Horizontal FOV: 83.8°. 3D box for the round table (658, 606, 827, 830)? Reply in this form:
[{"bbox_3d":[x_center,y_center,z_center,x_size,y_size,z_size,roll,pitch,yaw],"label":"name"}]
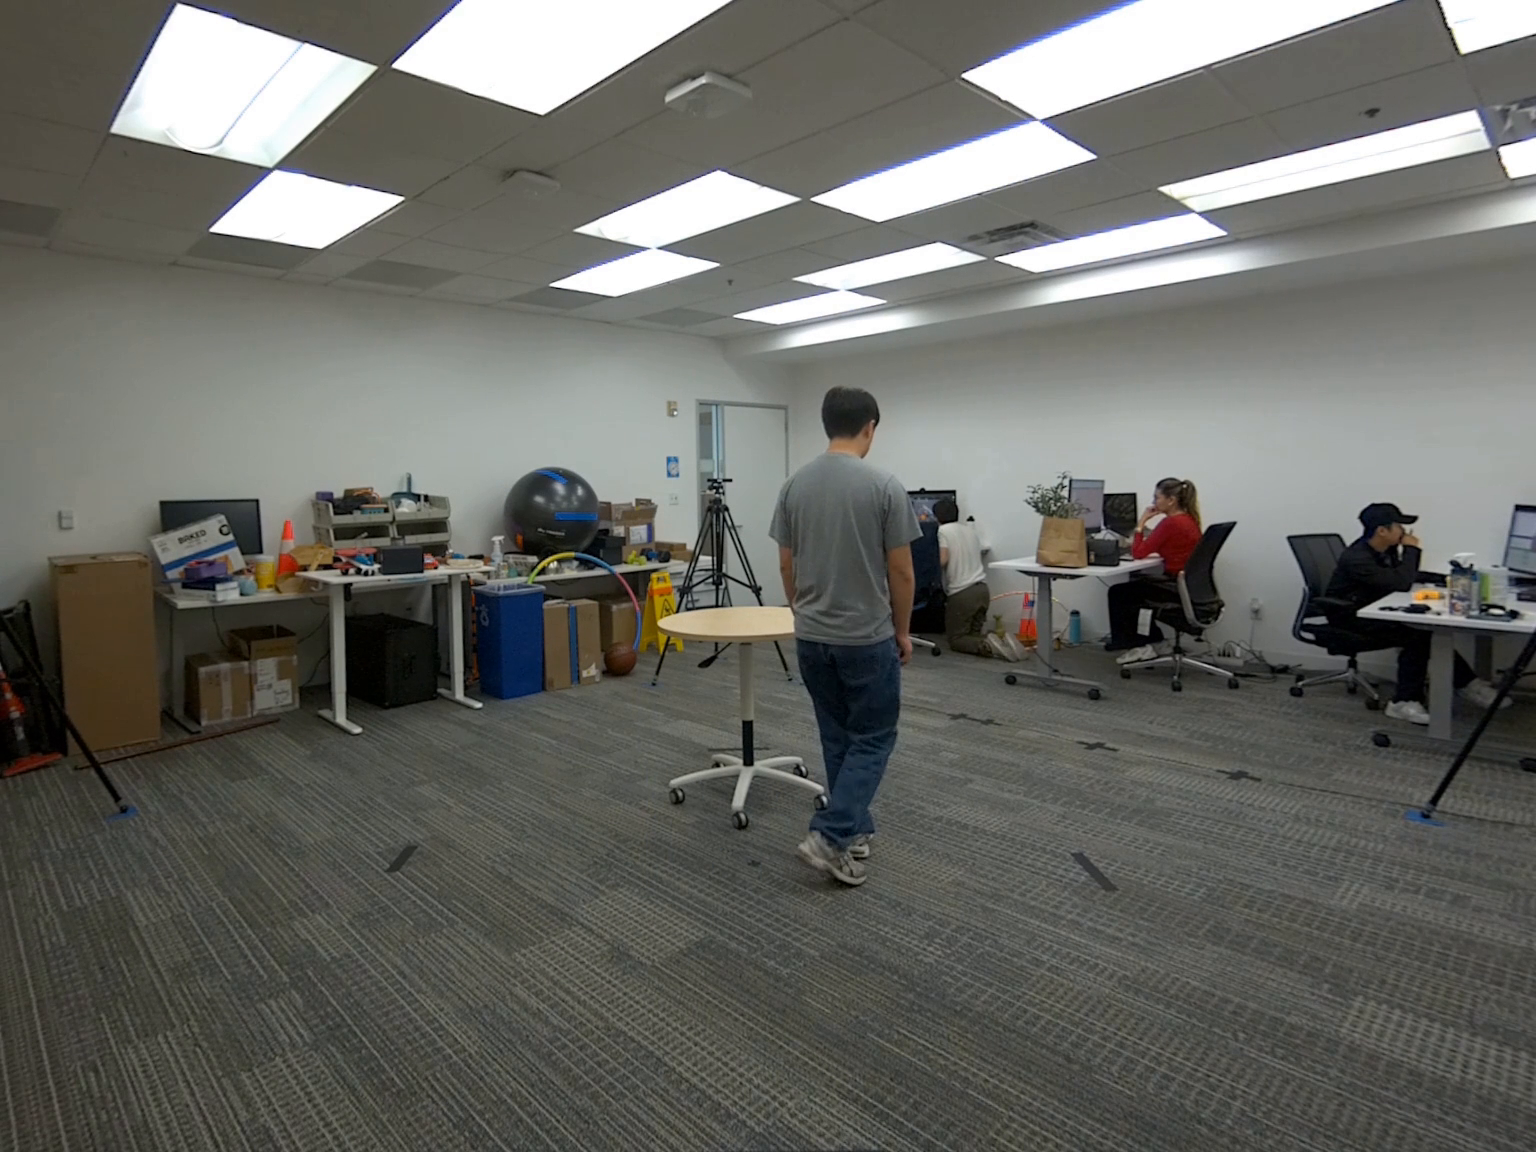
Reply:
[{"bbox_3d":[-0.092,0.585,3.750,0.763,0.791,0.768,-1,4,-2],"label":"round table"}]
